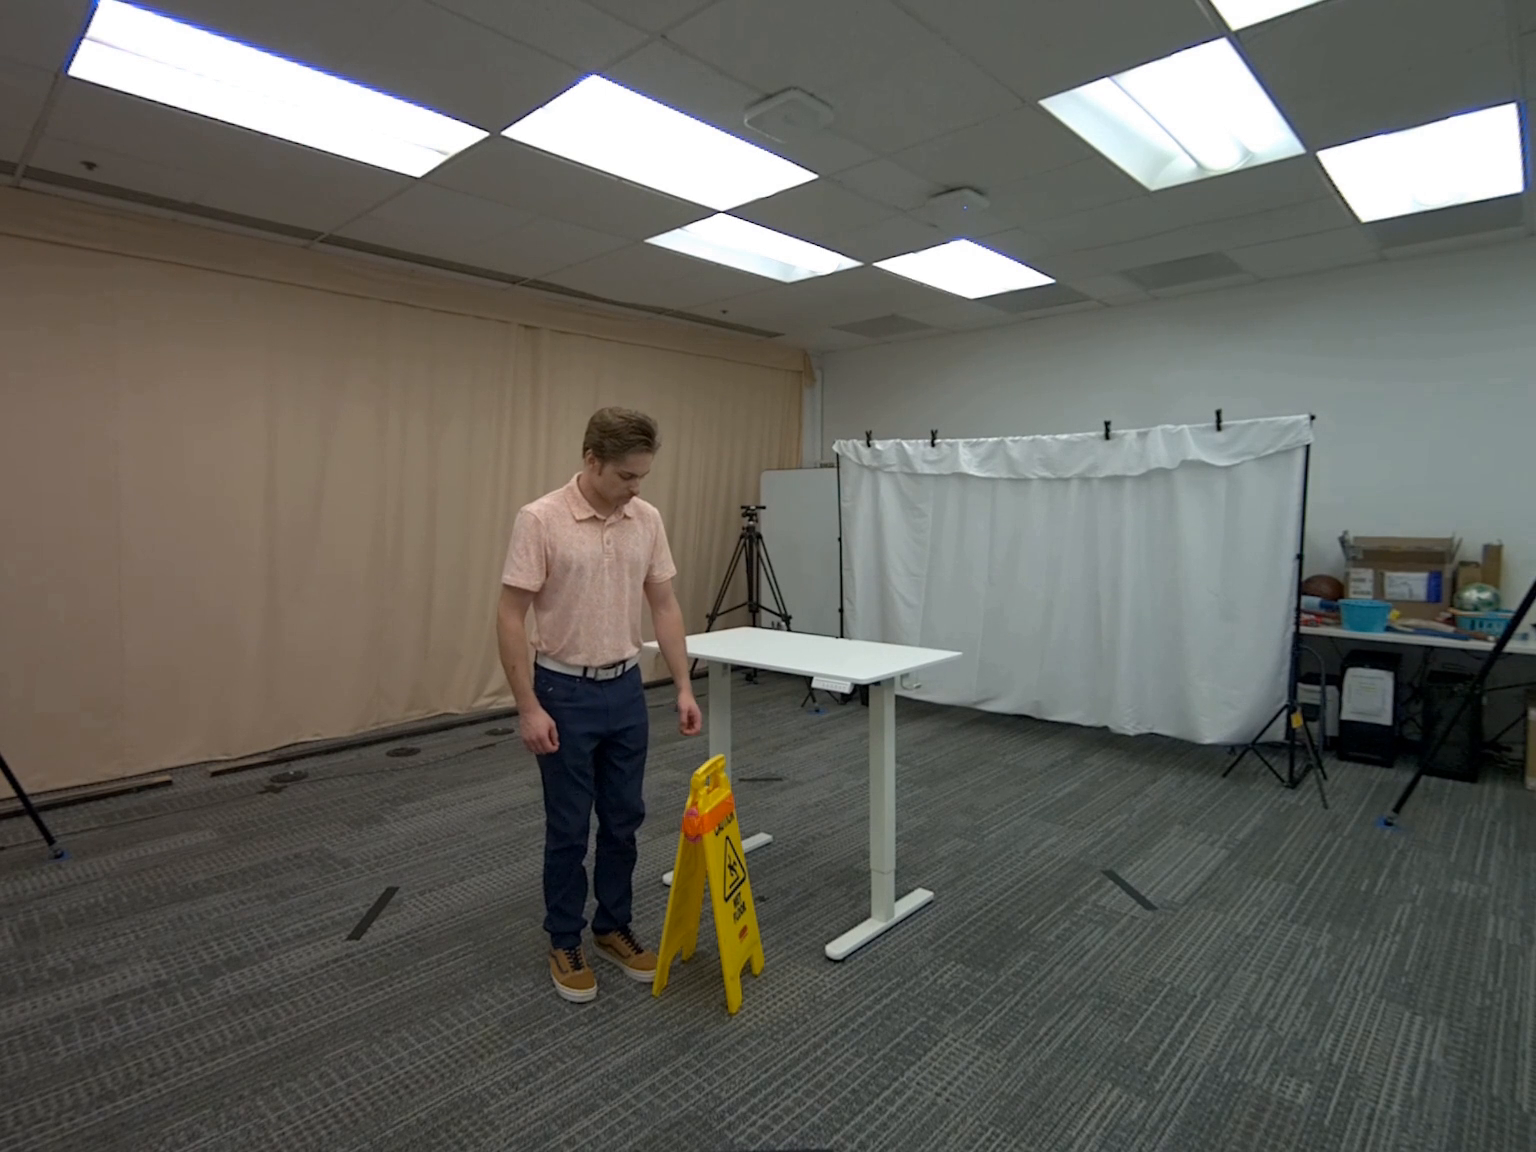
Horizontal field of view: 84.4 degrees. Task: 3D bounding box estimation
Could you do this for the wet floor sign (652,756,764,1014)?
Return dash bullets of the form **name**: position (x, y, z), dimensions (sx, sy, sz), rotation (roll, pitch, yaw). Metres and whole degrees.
- **wet floor sign**: position (-0.170, 0.868, 2.449), dimensions (0.295, 0.645, 0.277), rotation (1, 1, 16)
